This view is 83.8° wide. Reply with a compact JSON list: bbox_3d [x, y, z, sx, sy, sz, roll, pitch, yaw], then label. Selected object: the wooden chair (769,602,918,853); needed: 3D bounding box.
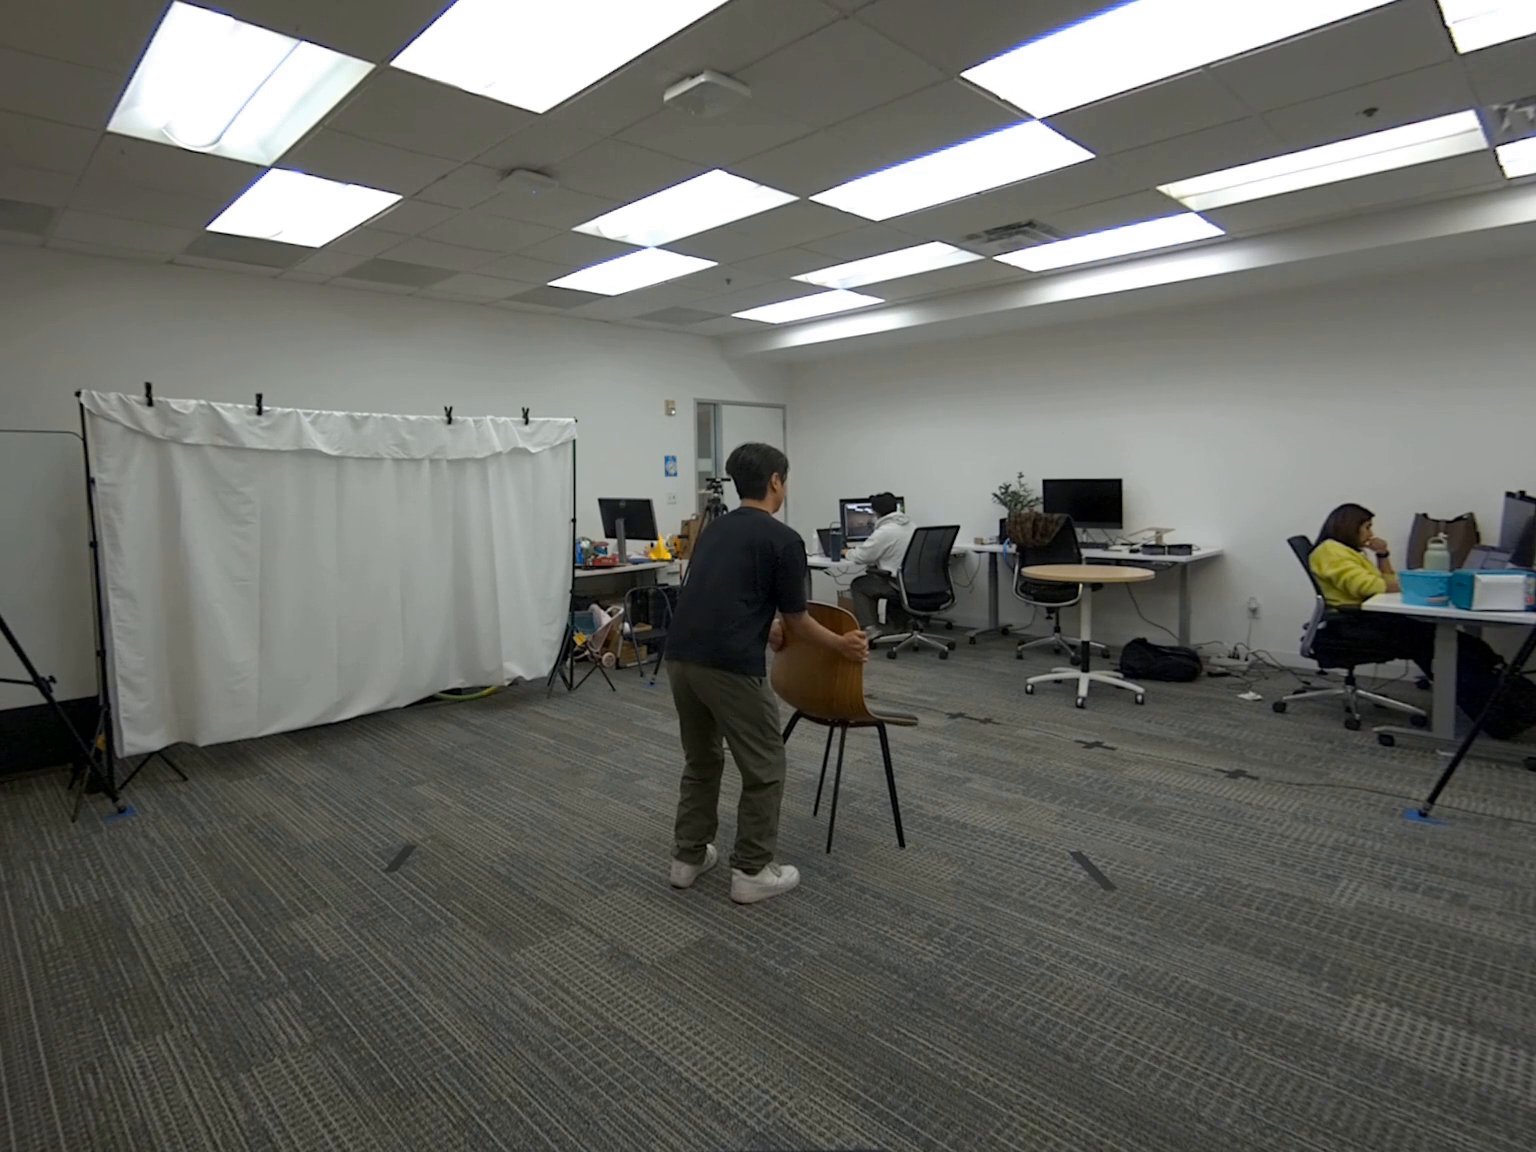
[{"bbox_3d":[0.272,0.549,3.273,0.506,0.880,0.492,8,-4,-44],"label":"wooden chair"}]
